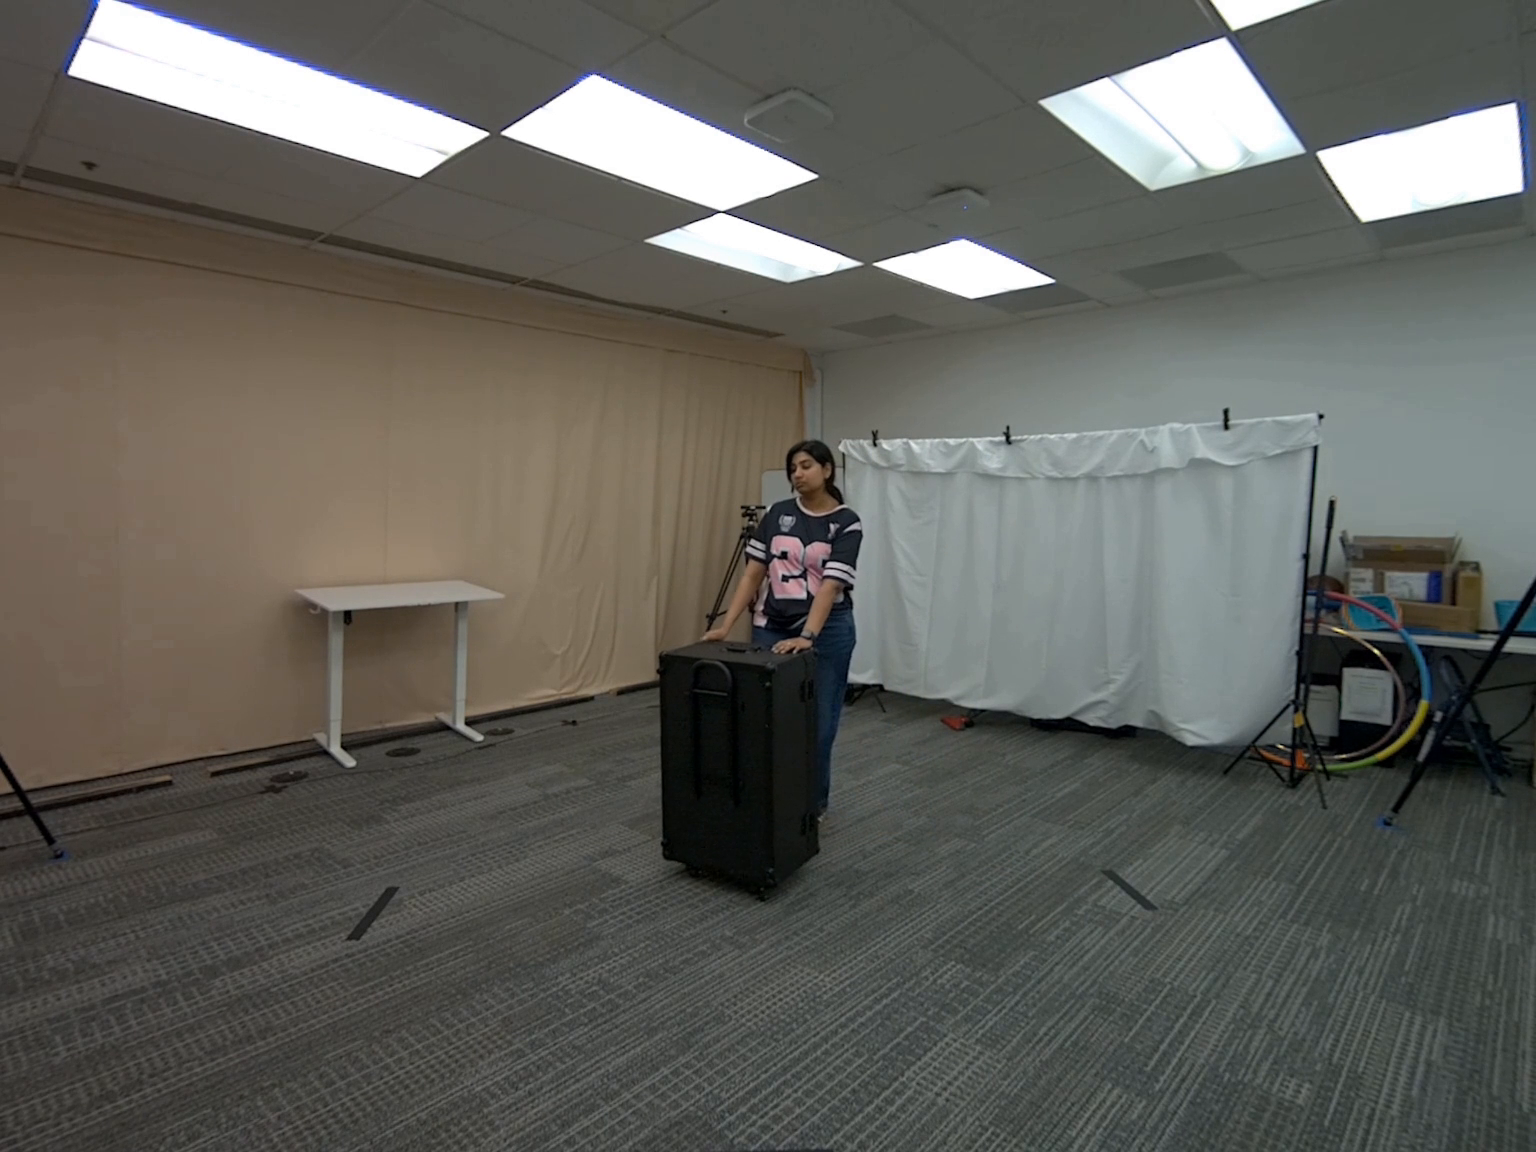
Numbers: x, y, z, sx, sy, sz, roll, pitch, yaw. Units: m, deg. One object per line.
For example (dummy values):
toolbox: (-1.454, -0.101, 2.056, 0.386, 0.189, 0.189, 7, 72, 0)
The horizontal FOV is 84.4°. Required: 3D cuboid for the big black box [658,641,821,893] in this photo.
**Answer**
big black box: (-0.101, 0.707, 3.151, 0.538, 0.866, 0.375, 1, 4, 30)
